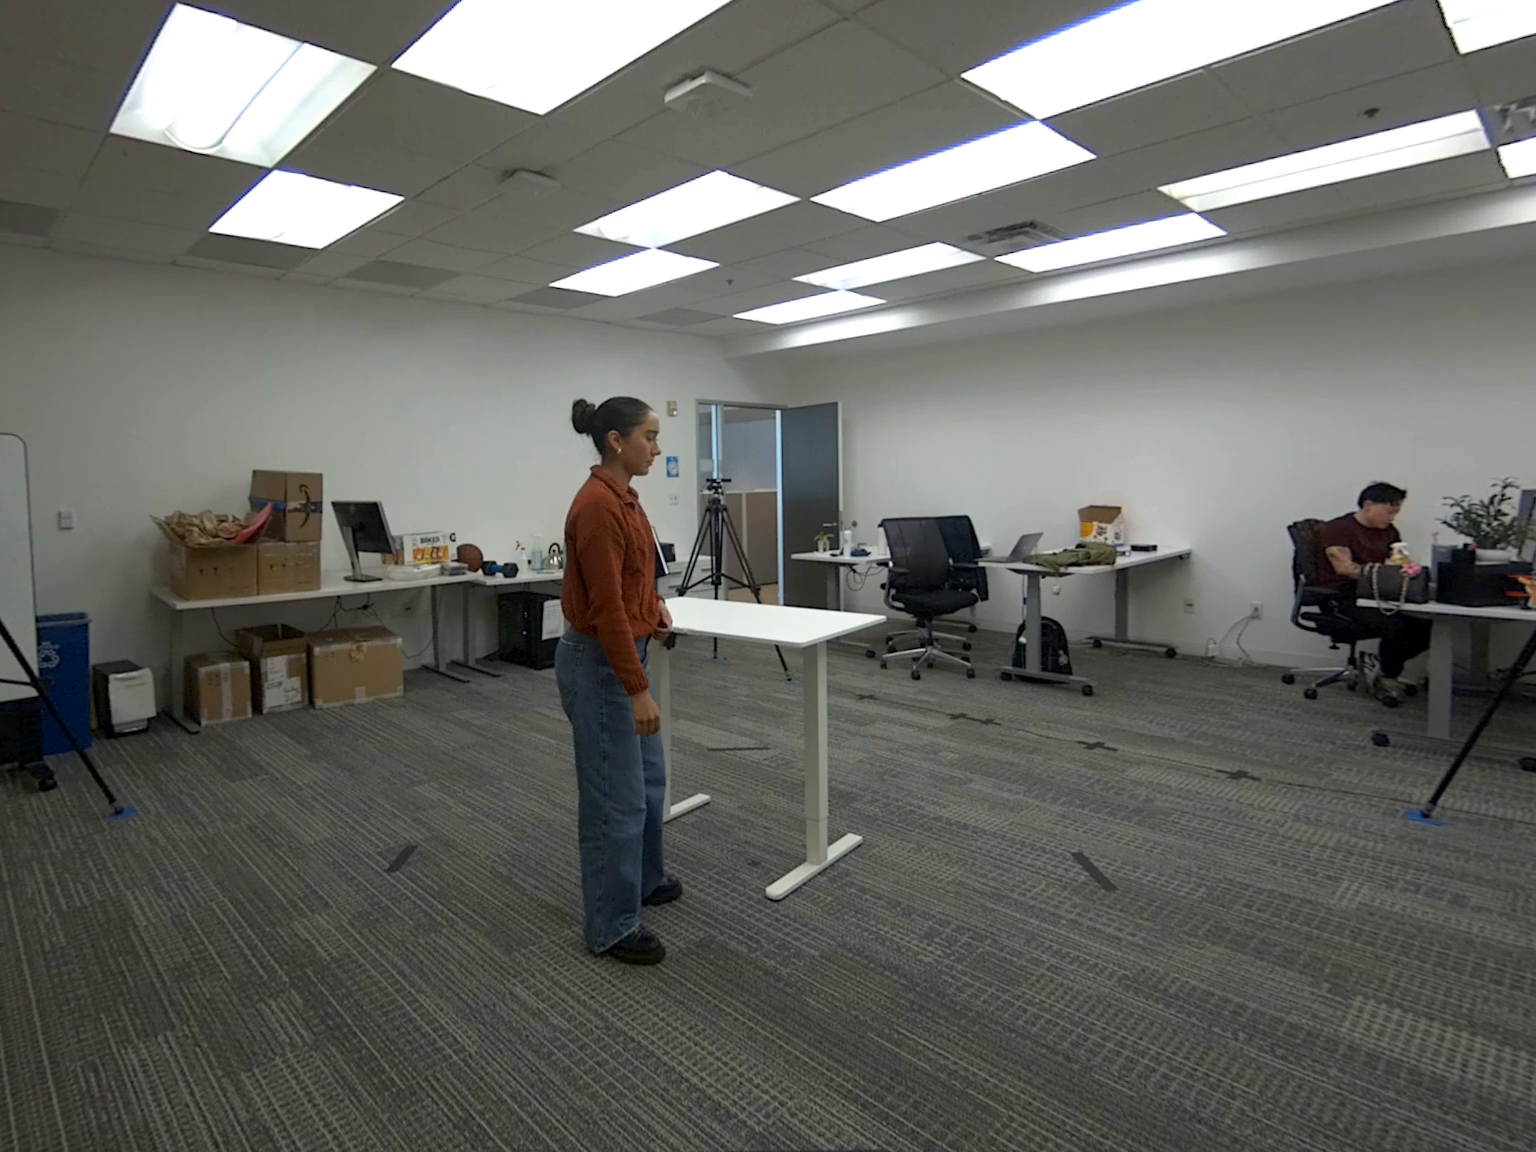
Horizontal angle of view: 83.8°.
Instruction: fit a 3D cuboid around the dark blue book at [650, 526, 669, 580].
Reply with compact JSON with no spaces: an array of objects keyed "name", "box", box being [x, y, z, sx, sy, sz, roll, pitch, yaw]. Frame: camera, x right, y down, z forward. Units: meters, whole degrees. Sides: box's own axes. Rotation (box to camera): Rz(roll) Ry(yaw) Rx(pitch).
[{"name":"dark blue book","box":[-0.448,-0.048,2.698,0.246,0.163,0.045,-16,4,5]}]
